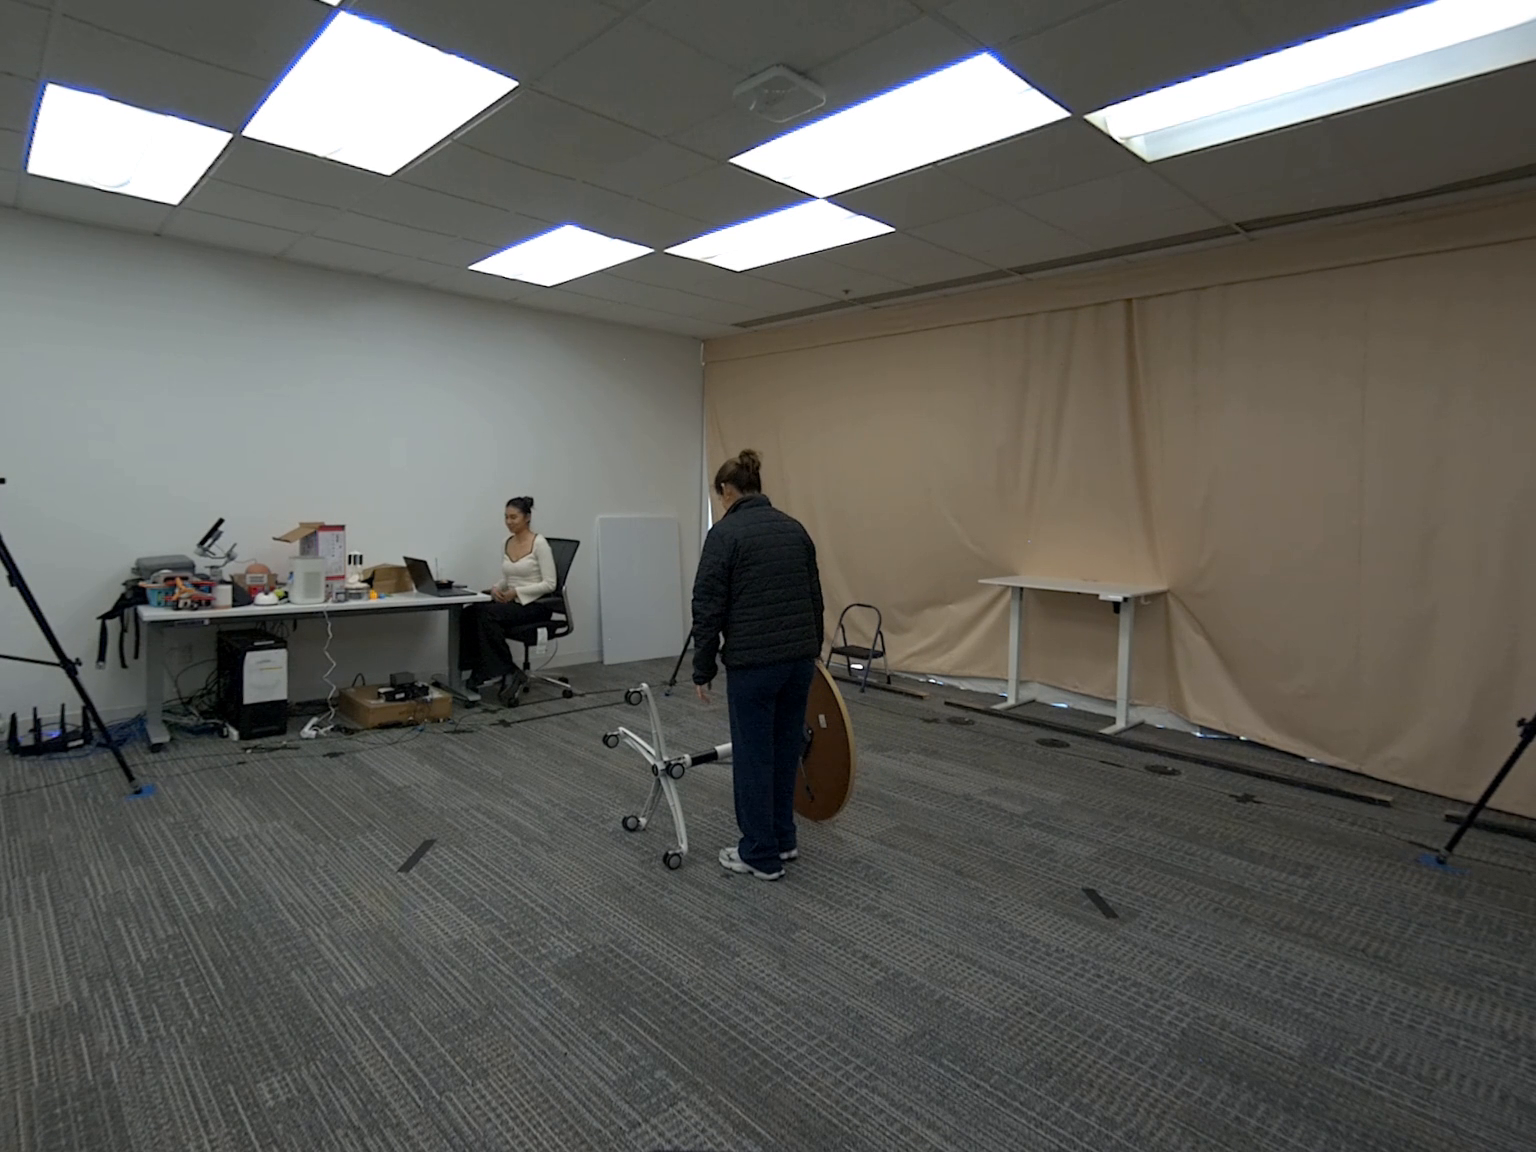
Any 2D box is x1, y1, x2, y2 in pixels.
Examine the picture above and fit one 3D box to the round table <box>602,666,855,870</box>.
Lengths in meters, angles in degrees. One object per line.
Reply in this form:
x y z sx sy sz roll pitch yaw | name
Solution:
-0.185 0.738 3.490 0.773 0.780 0.804 -9 9 -31 | round table
